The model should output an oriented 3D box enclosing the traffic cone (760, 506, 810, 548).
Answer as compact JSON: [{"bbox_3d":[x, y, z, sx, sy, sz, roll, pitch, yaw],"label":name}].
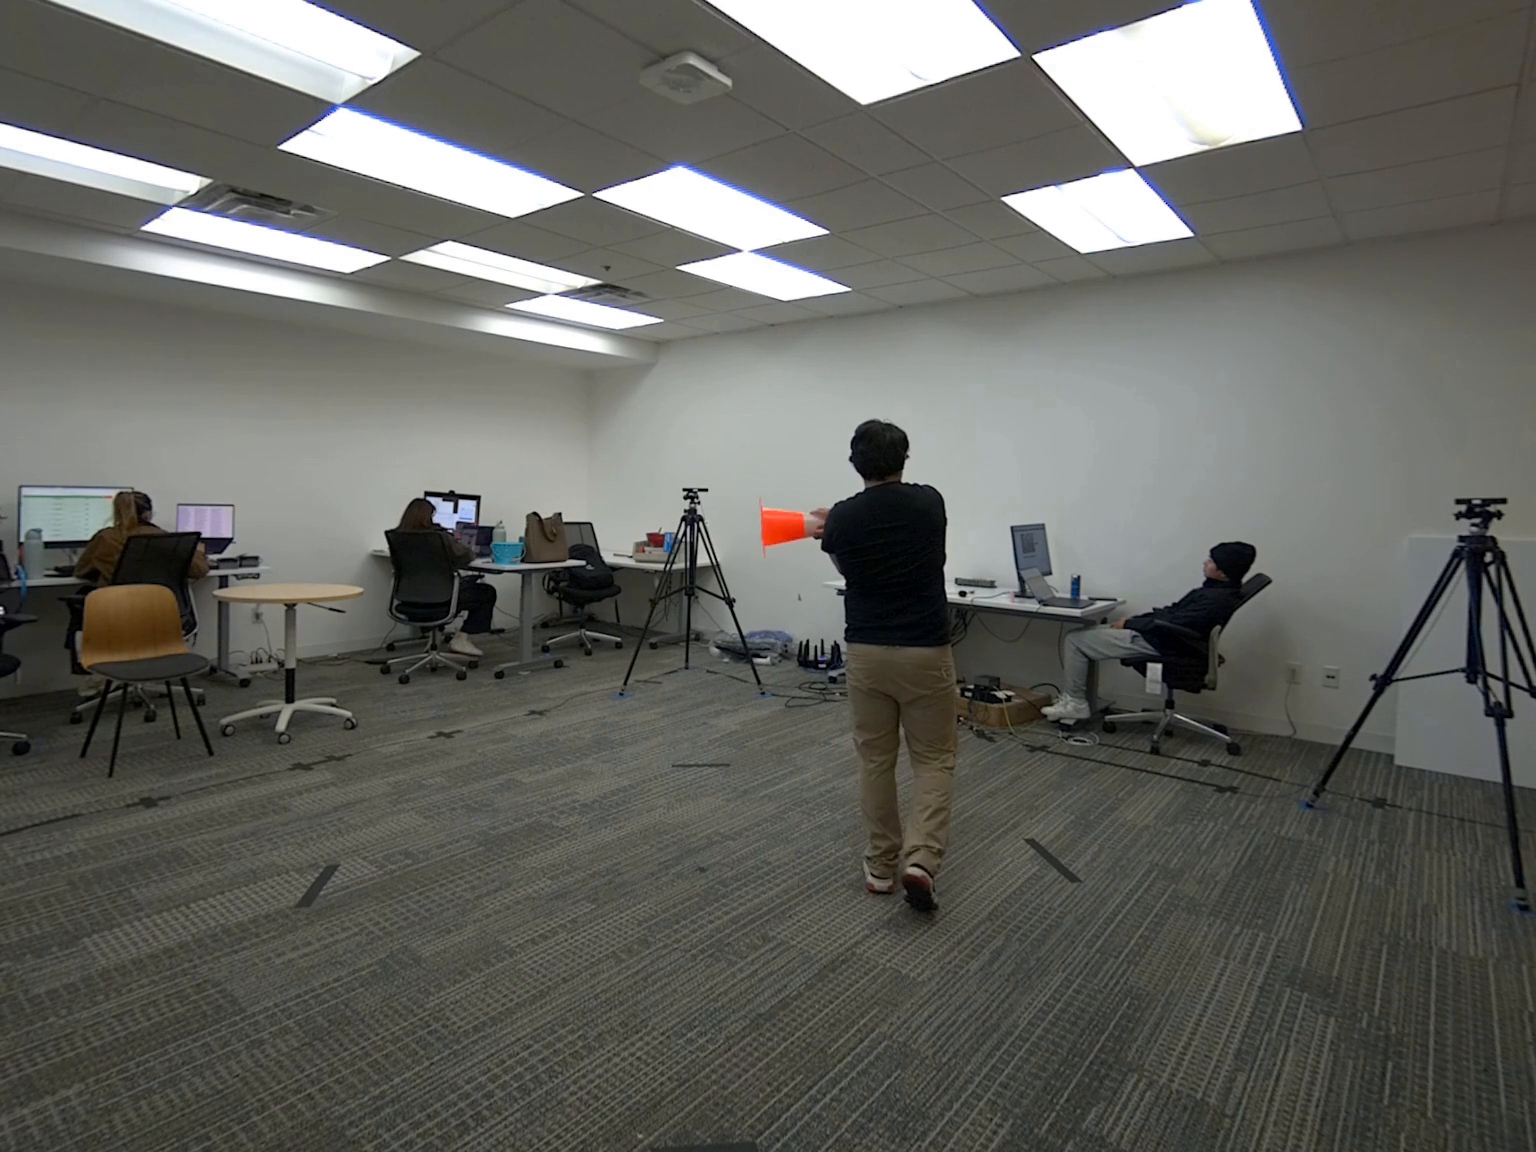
[{"bbox_3d":[0.176,-0.217,3.462,0.383,0.199,0.210,-5,23,-1],"label":"traffic cone"}]
